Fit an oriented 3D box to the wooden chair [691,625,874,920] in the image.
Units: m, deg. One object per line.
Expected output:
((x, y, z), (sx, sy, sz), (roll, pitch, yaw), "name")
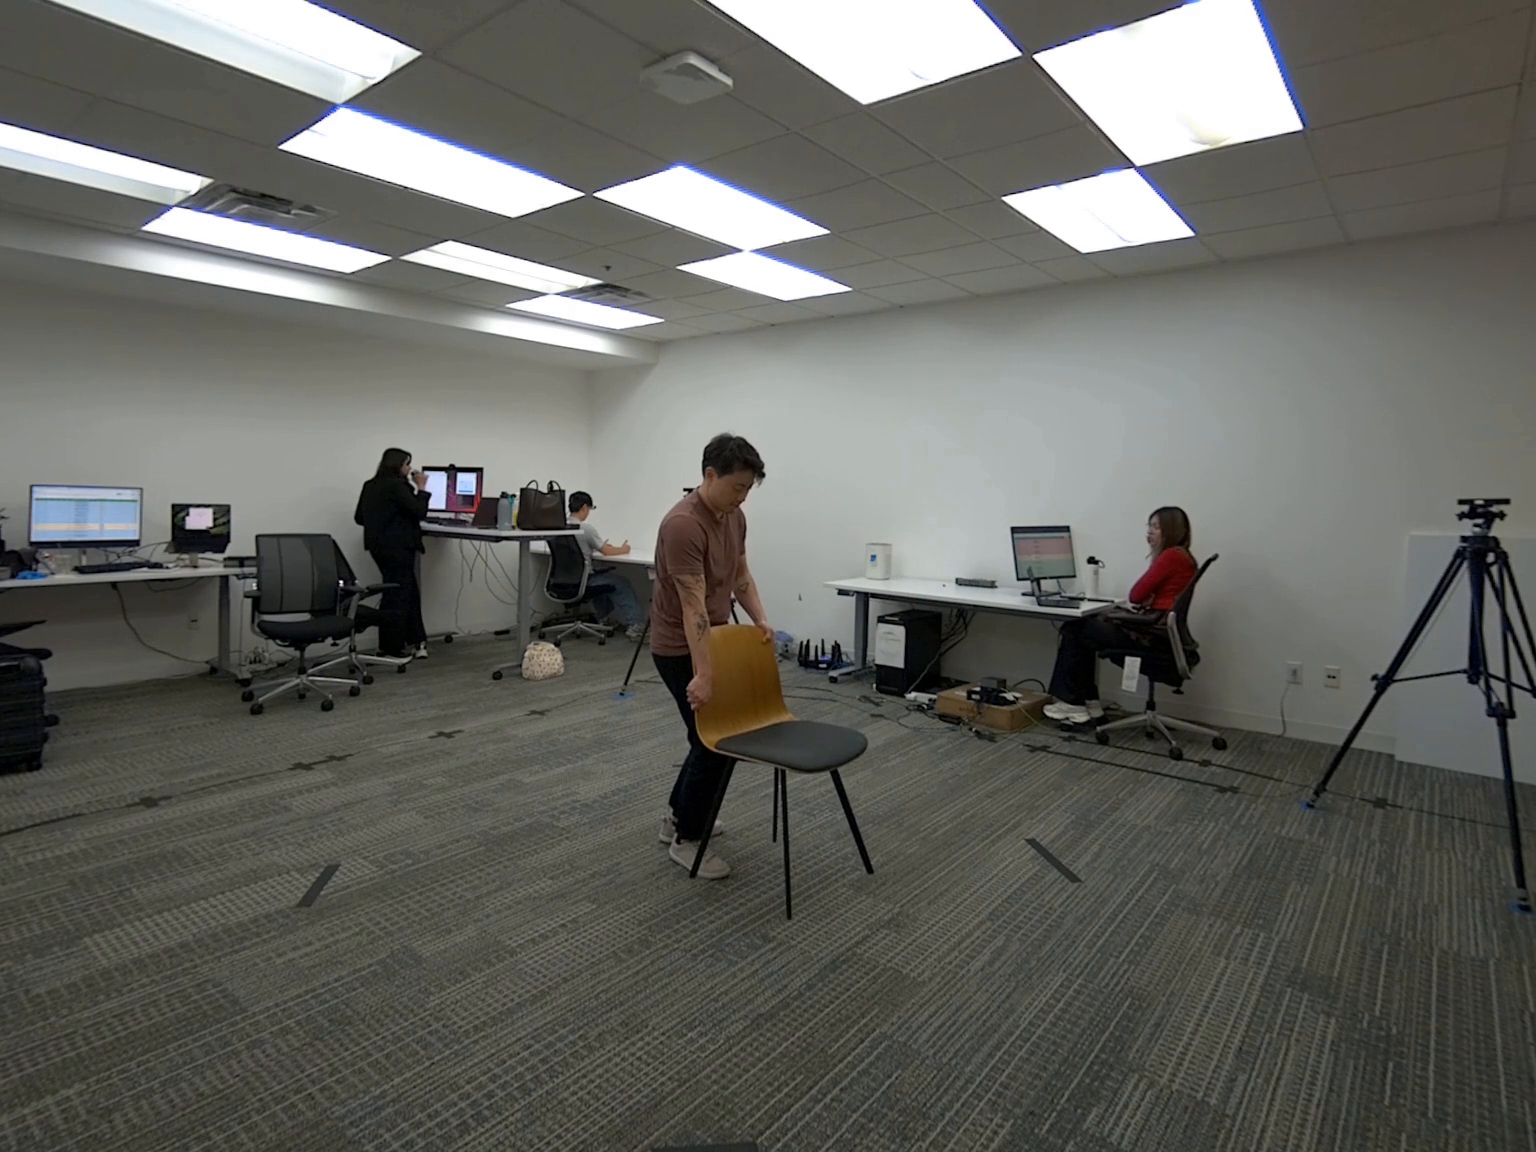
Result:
((0.040, 0.610, 2.917), (0.538, 0.879, 0.464), (-6, -2, 44), "wooden chair")
